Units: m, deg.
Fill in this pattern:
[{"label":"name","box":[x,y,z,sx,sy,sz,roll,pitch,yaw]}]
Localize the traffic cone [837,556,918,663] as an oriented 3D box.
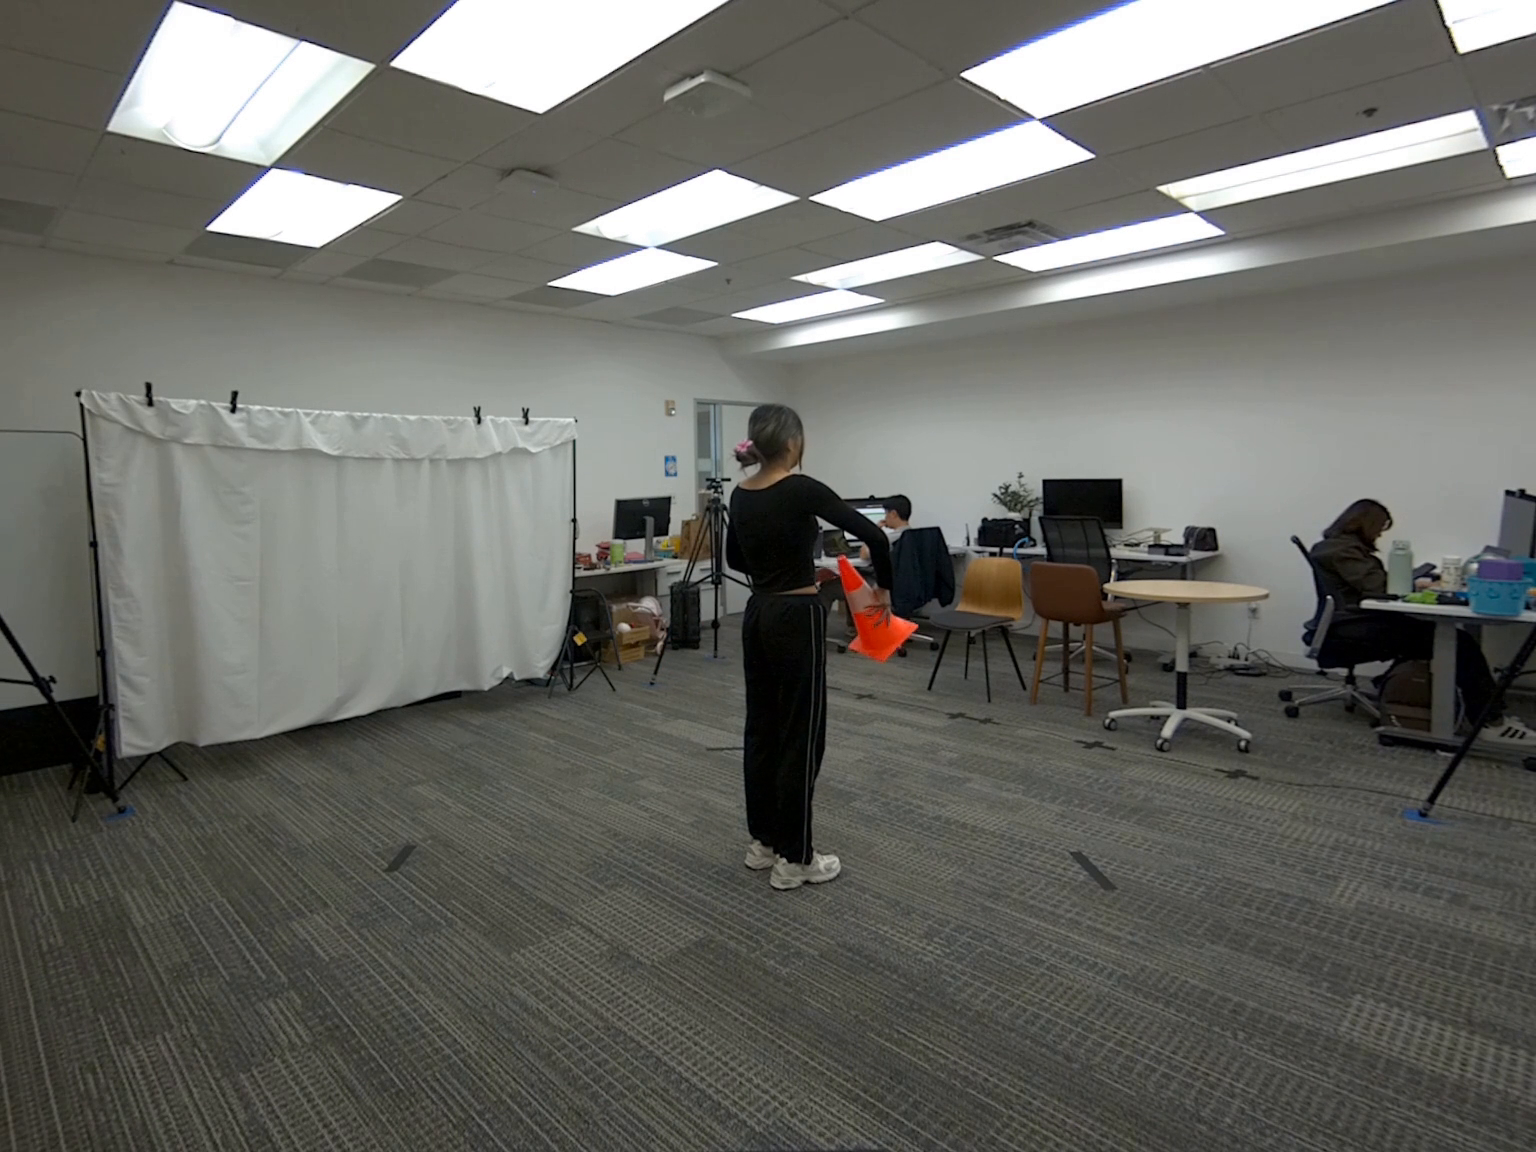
[{"label":"traffic cone","box":[0.327,0.085,3.028,0.203,0.373,0.211,-36,23,-7]}]
